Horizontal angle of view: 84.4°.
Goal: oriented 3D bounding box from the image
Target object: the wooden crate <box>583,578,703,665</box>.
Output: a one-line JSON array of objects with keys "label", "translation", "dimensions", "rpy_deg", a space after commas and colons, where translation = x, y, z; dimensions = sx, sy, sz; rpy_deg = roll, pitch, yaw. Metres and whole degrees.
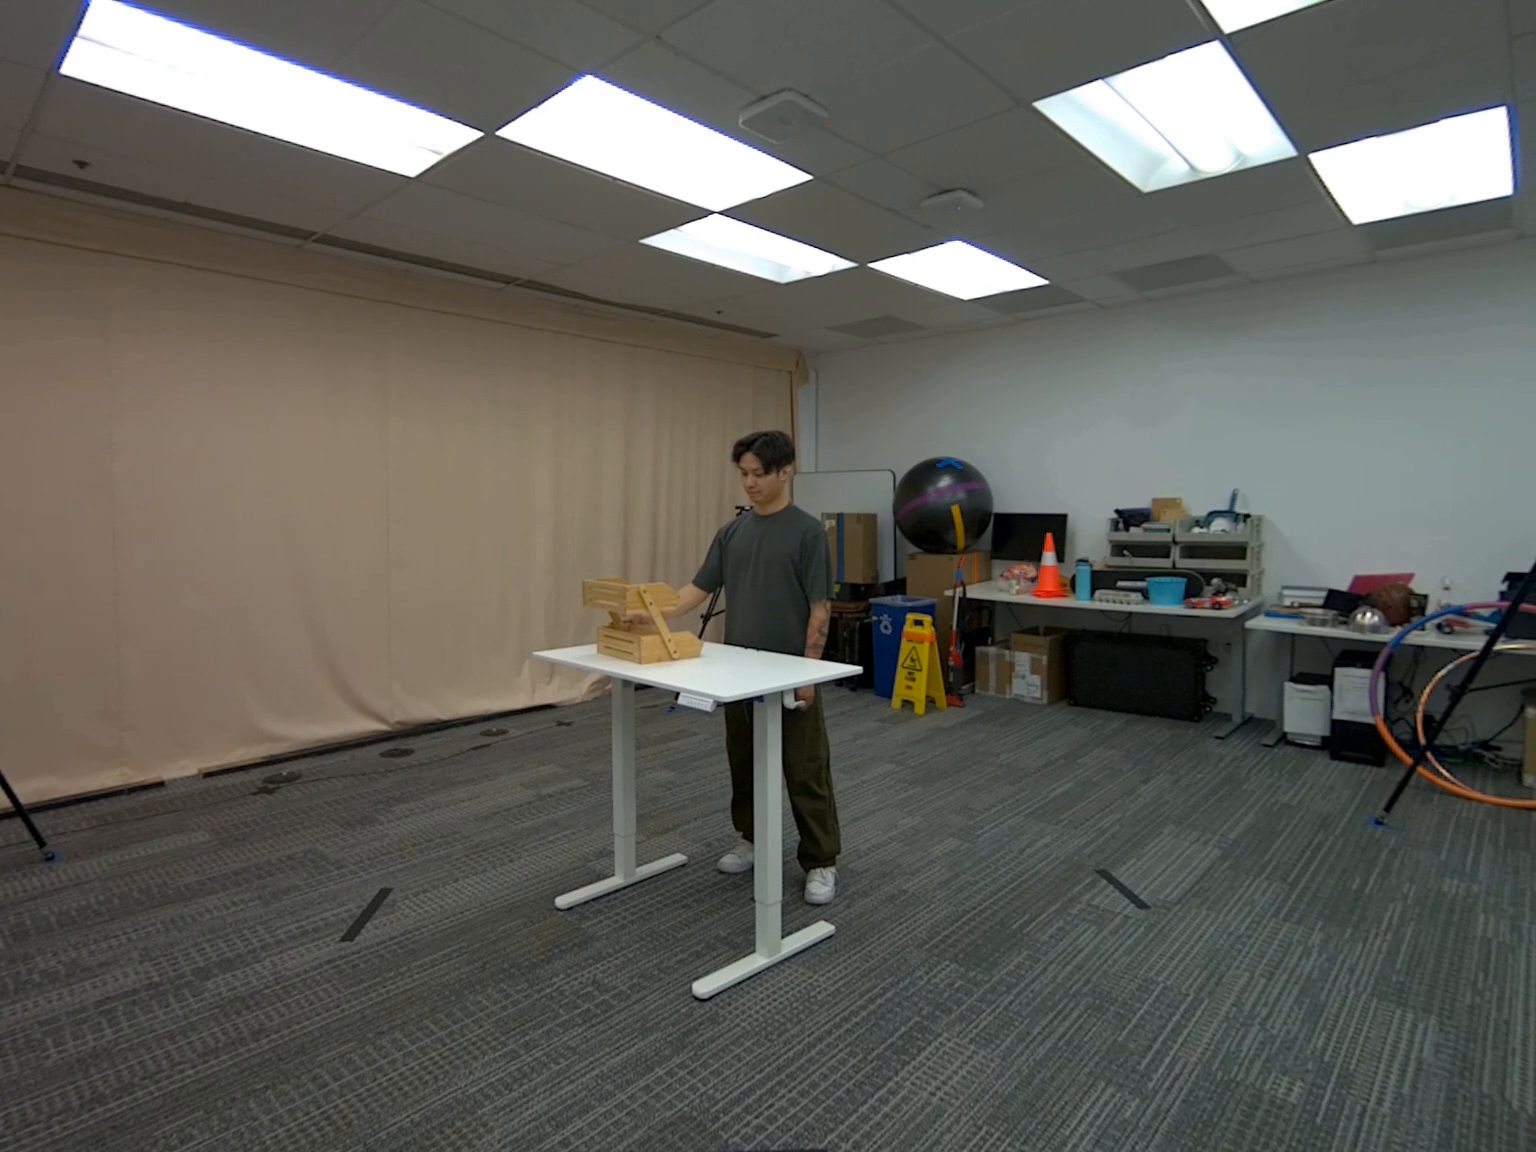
[{"label": "wooden crate", "translation": [-0.425, 0.139, 2.894], "dimensions": [0.293, 0.273, 0.335], "rpy_deg": [-4, 5, -37]}]
